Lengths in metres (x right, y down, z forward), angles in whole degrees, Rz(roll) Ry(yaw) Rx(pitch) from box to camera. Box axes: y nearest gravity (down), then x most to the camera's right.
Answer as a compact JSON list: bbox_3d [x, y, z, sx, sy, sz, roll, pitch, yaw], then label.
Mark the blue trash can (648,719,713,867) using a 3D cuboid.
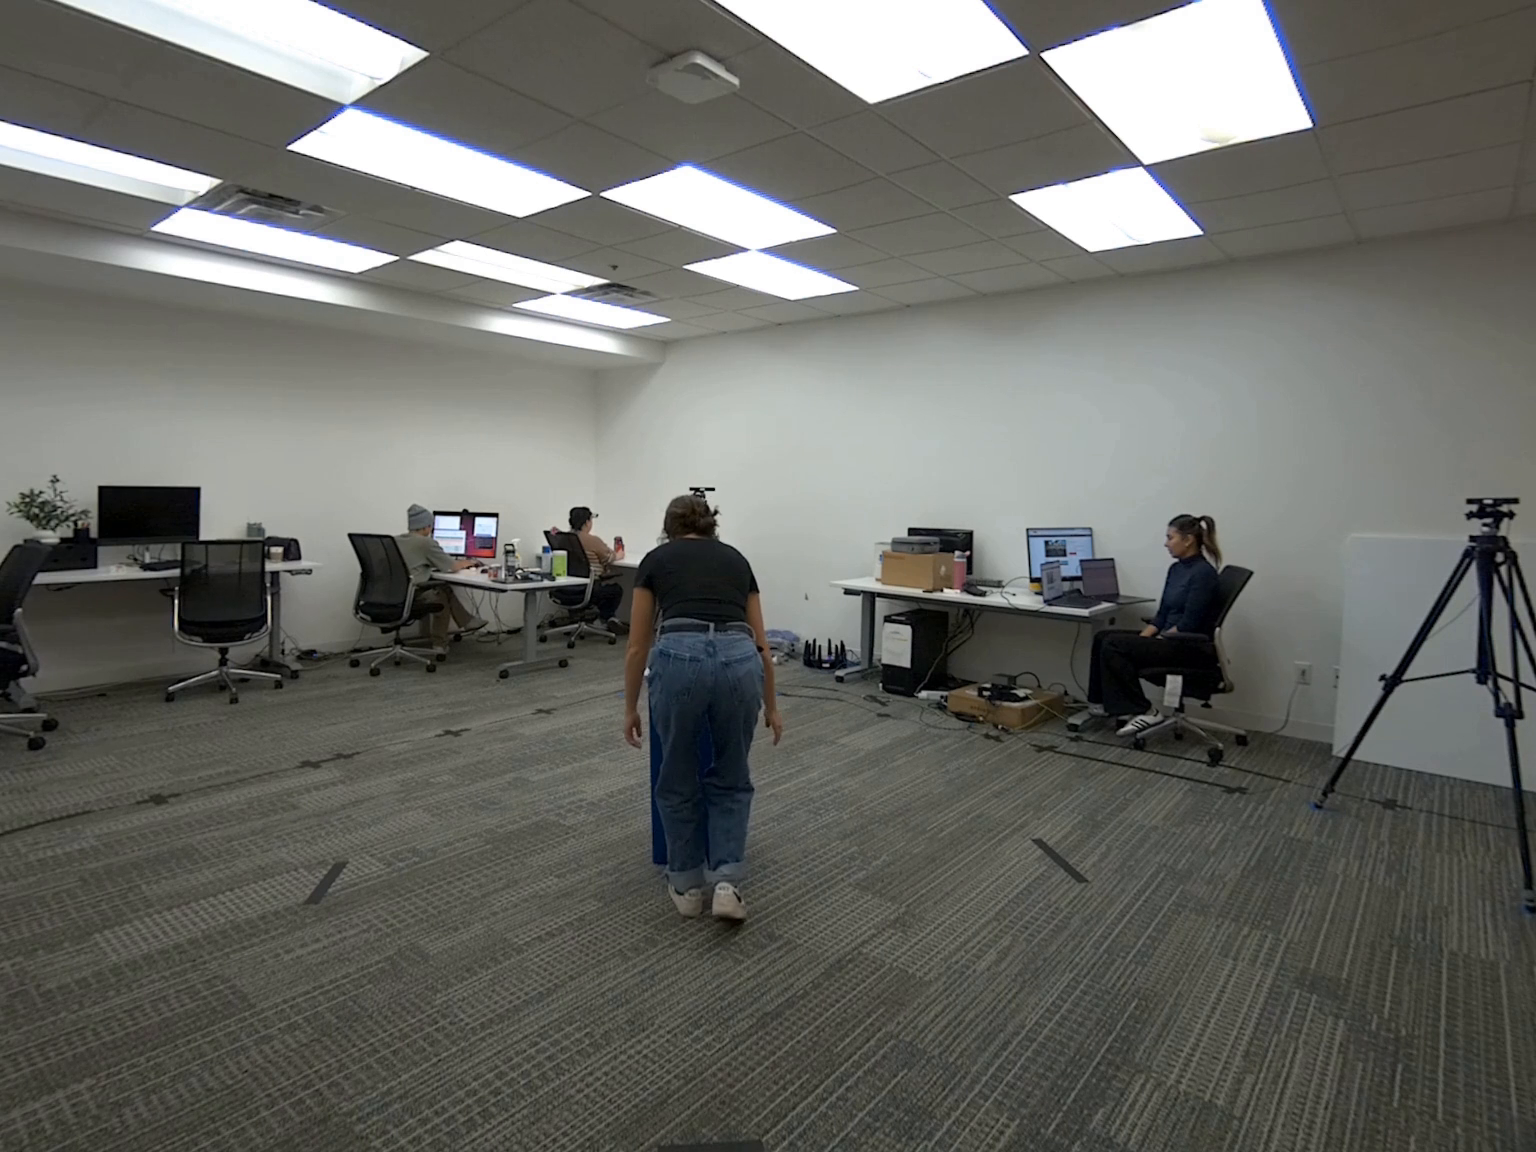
[{"bbox_3d":[-0.284,0.688,3.252,0.376,0.712,0.377,2,3,3],"label":"blue trash can"}]
